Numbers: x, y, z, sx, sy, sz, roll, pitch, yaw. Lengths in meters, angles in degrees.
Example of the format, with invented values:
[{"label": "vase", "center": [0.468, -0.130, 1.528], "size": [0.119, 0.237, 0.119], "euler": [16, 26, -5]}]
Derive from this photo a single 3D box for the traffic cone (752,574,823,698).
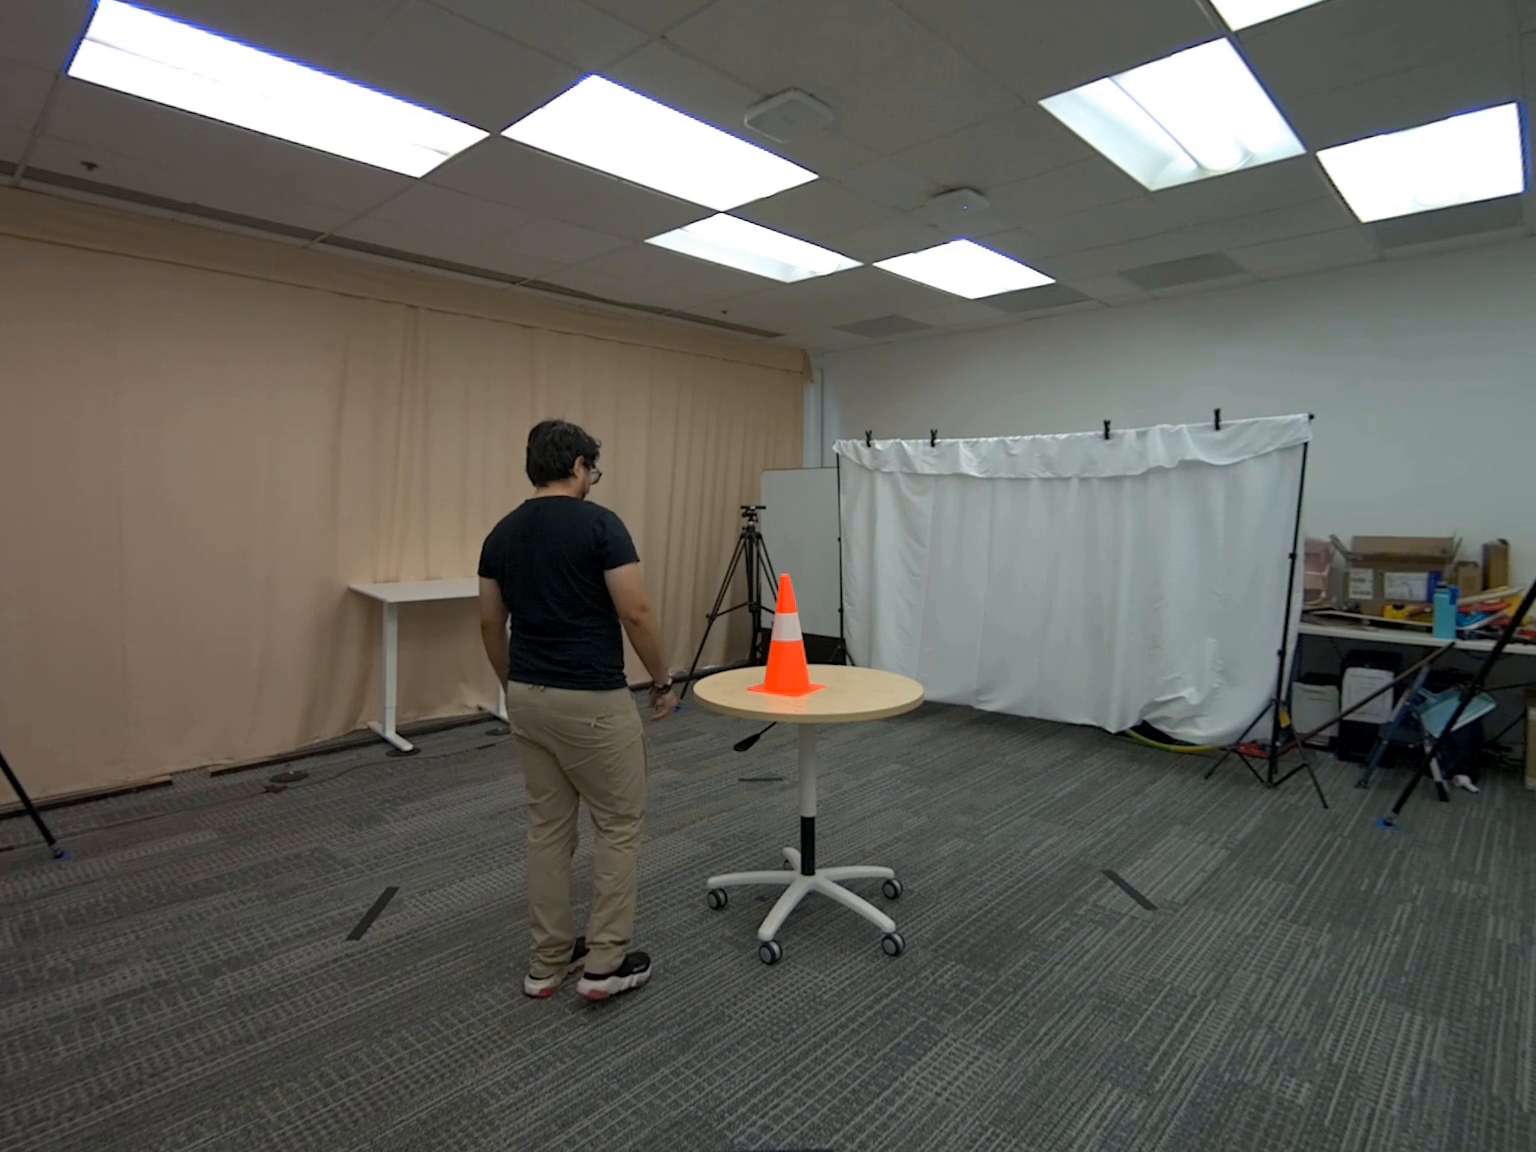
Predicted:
[{"label": "traffic cone", "center": [0.063, 0.189, 2.799], "size": [0.211, 0.383, 0.197], "euler": [1, 4, 35]}]
